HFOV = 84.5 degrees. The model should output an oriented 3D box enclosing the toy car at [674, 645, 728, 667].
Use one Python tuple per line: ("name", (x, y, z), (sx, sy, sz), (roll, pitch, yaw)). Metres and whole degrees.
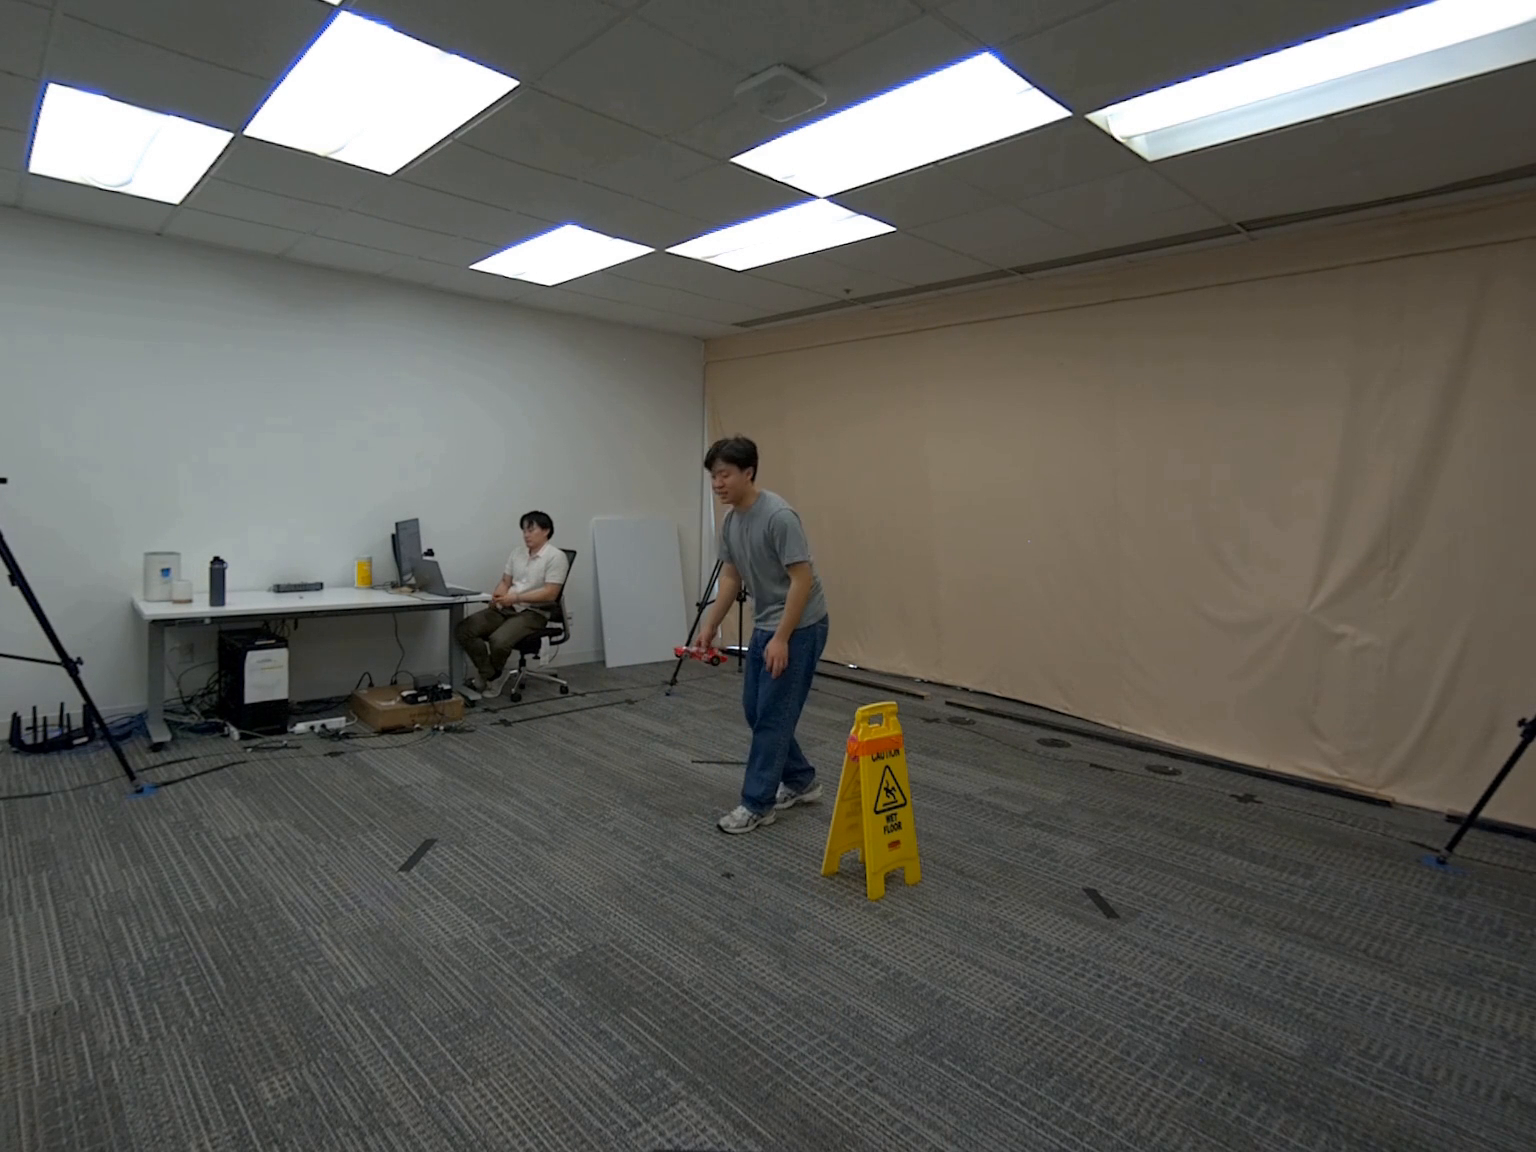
("toy car", (-0.303, 0.379, 3.876), (0.250, 0.083, 0.132), (1, 0, -22))
